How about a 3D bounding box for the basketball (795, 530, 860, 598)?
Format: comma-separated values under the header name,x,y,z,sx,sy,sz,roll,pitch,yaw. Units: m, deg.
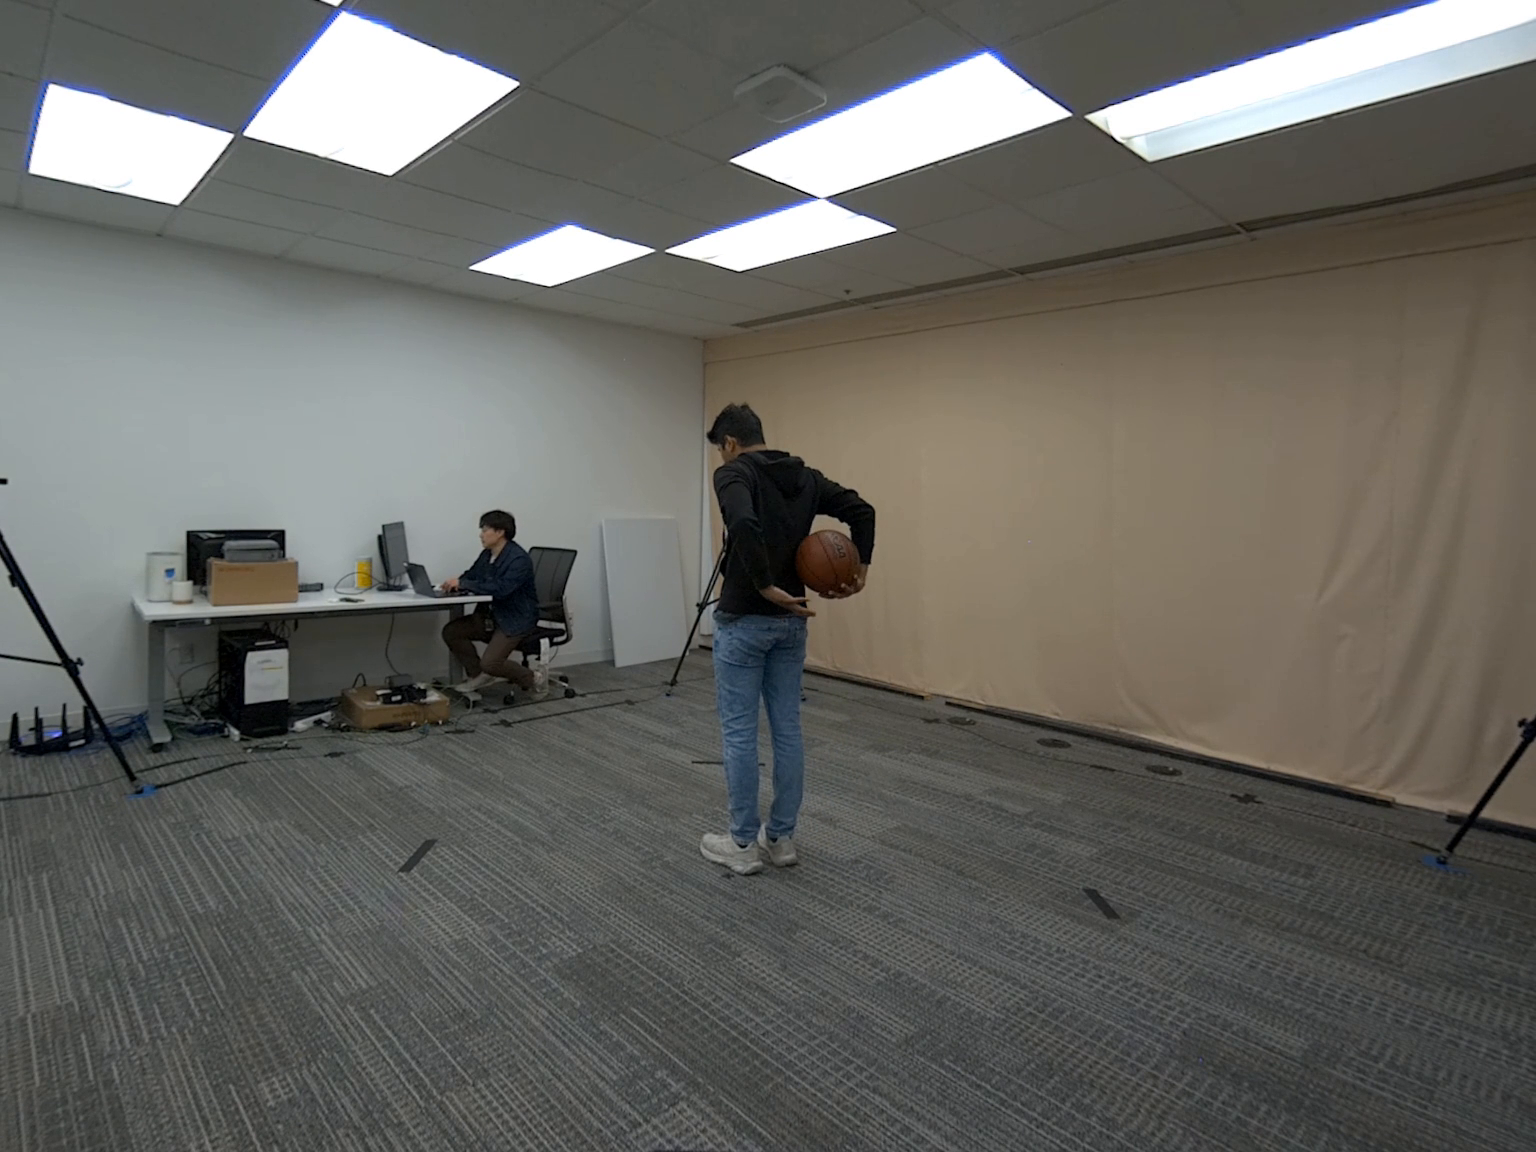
name,x,y,z,sx,sy,sz,roll,pitch,yaw
basketball,0.200,-0.054,3.113,0.236,0.235,0.237,1,4,-1
